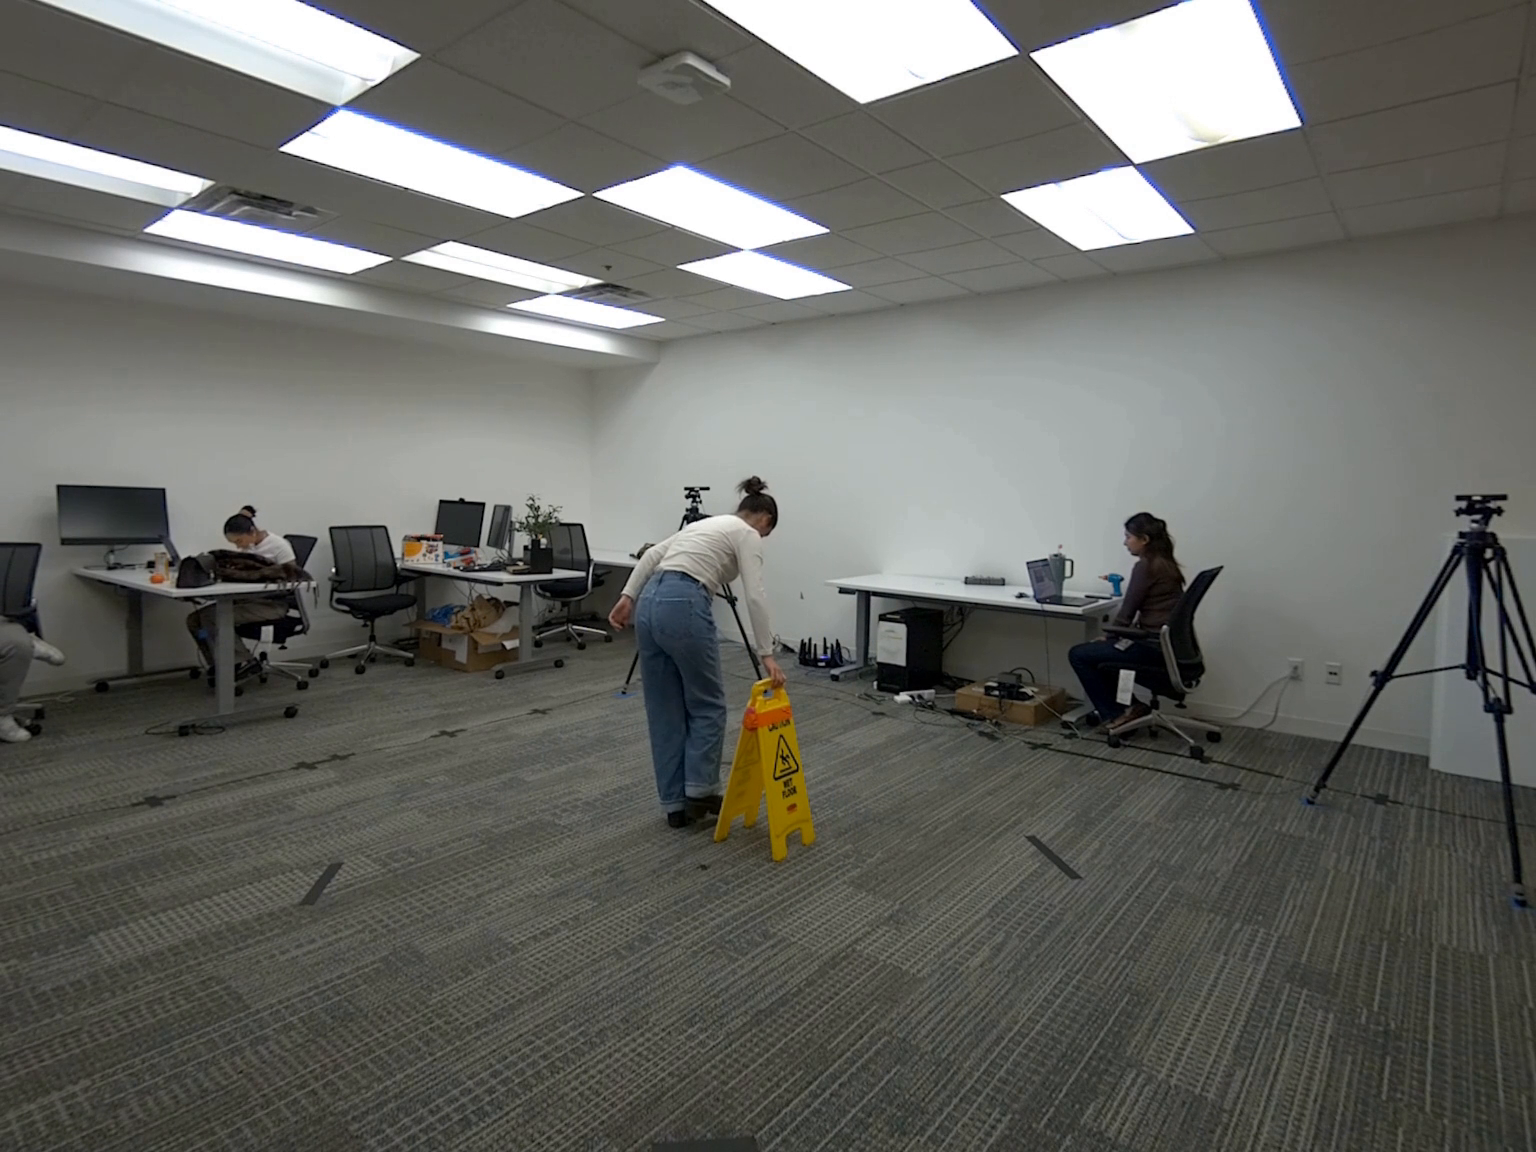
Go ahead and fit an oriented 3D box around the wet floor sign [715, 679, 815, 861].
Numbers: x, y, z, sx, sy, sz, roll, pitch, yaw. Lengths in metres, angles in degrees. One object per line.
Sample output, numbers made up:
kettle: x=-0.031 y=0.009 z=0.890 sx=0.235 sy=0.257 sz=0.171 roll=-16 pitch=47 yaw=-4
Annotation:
wet floor sign: x=-0.008 y=0.722 z=3.347 sx=0.299 sy=0.644 sz=0.274 roll=4 pitch=4 yaw=36
